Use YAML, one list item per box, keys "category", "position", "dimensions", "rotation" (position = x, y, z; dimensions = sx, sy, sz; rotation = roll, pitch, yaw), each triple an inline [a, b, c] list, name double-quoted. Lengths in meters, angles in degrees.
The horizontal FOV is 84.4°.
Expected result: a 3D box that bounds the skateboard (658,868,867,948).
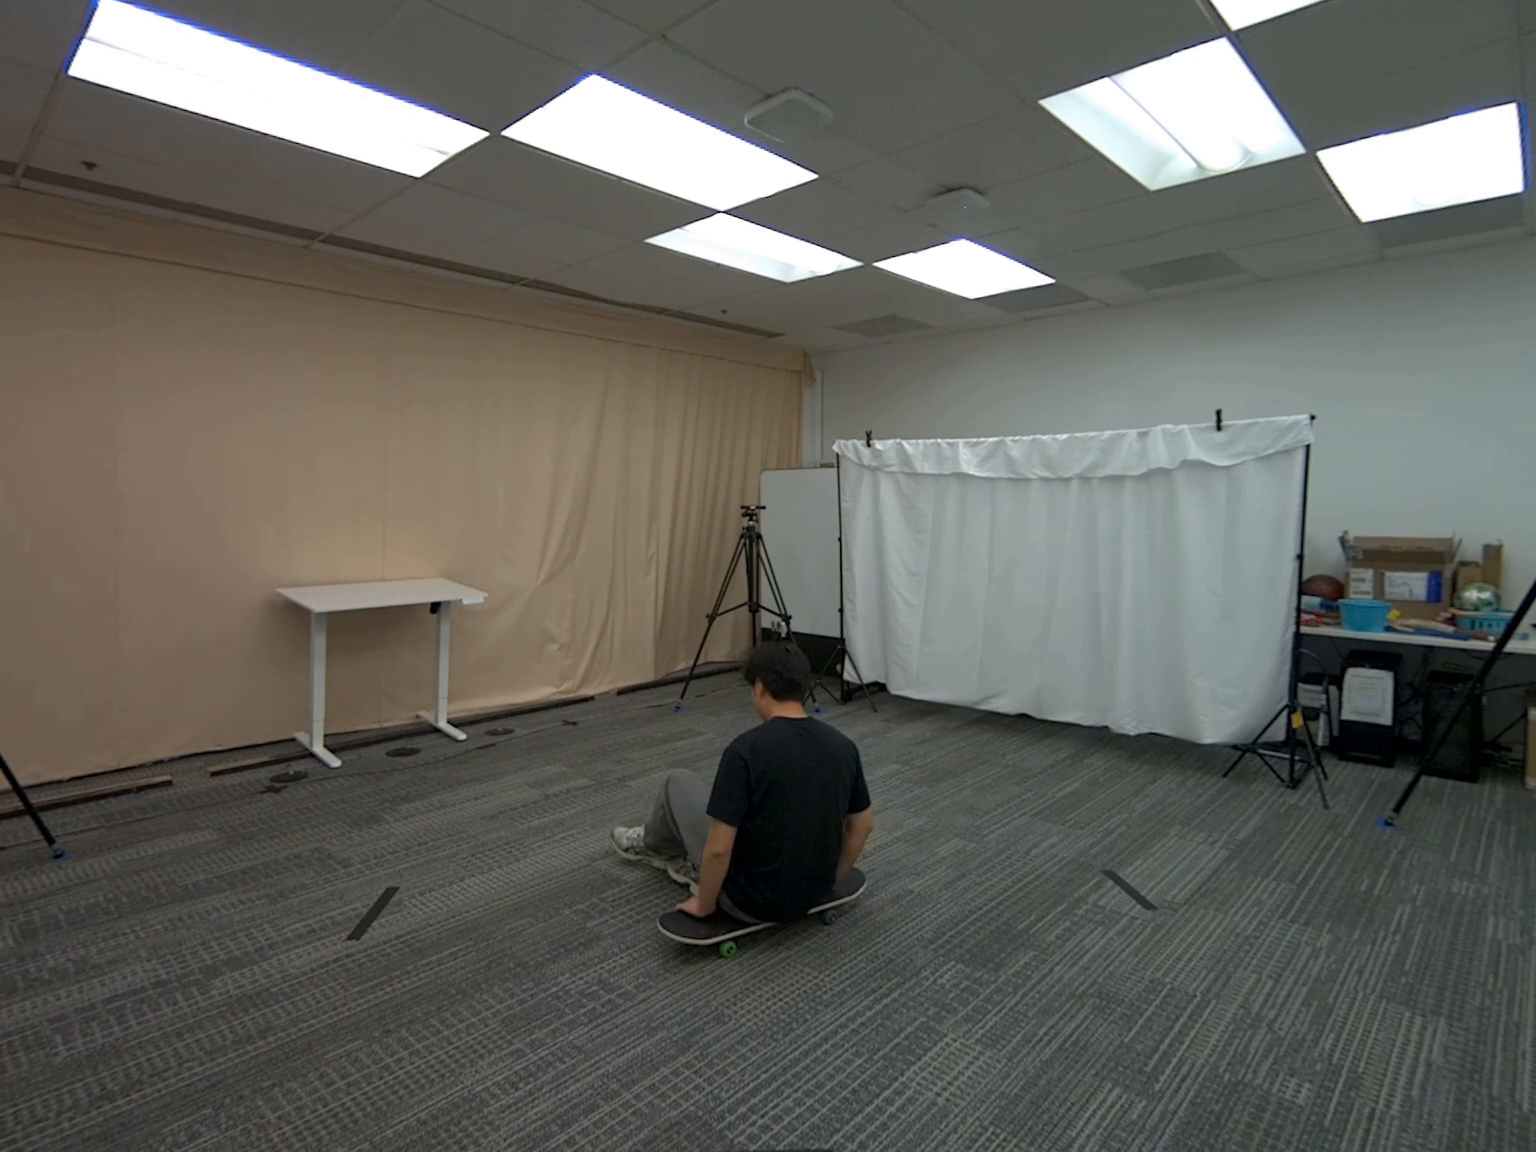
- category: "skateboard"
  position: [-0.009, 1.103, 2.768]
  dimensions: [0.764, 0.110, 0.200]
  rotation: [-2, 9, -32]
